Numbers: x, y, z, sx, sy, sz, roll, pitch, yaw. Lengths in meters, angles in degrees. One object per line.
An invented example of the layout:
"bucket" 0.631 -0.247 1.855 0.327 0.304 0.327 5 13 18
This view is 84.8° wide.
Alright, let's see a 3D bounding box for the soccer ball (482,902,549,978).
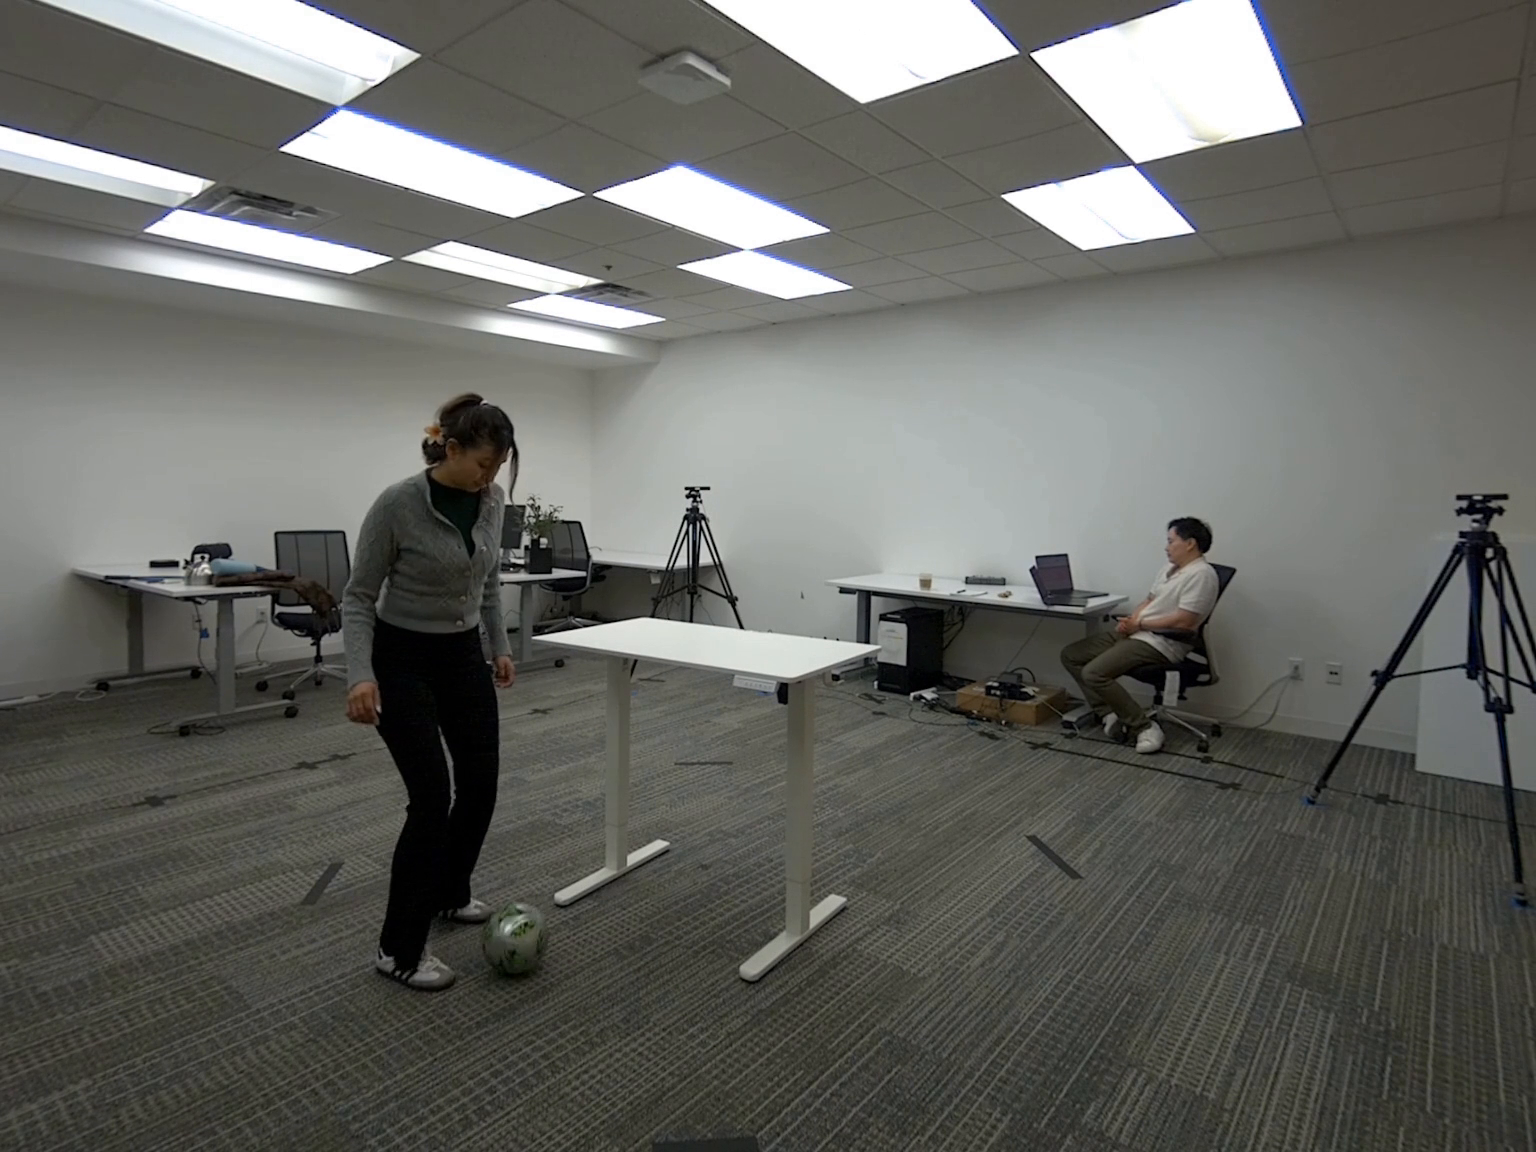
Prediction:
"soccer ball" -0.729 1.043 2.426 0.187 0.187 0.188 0 4 -2
